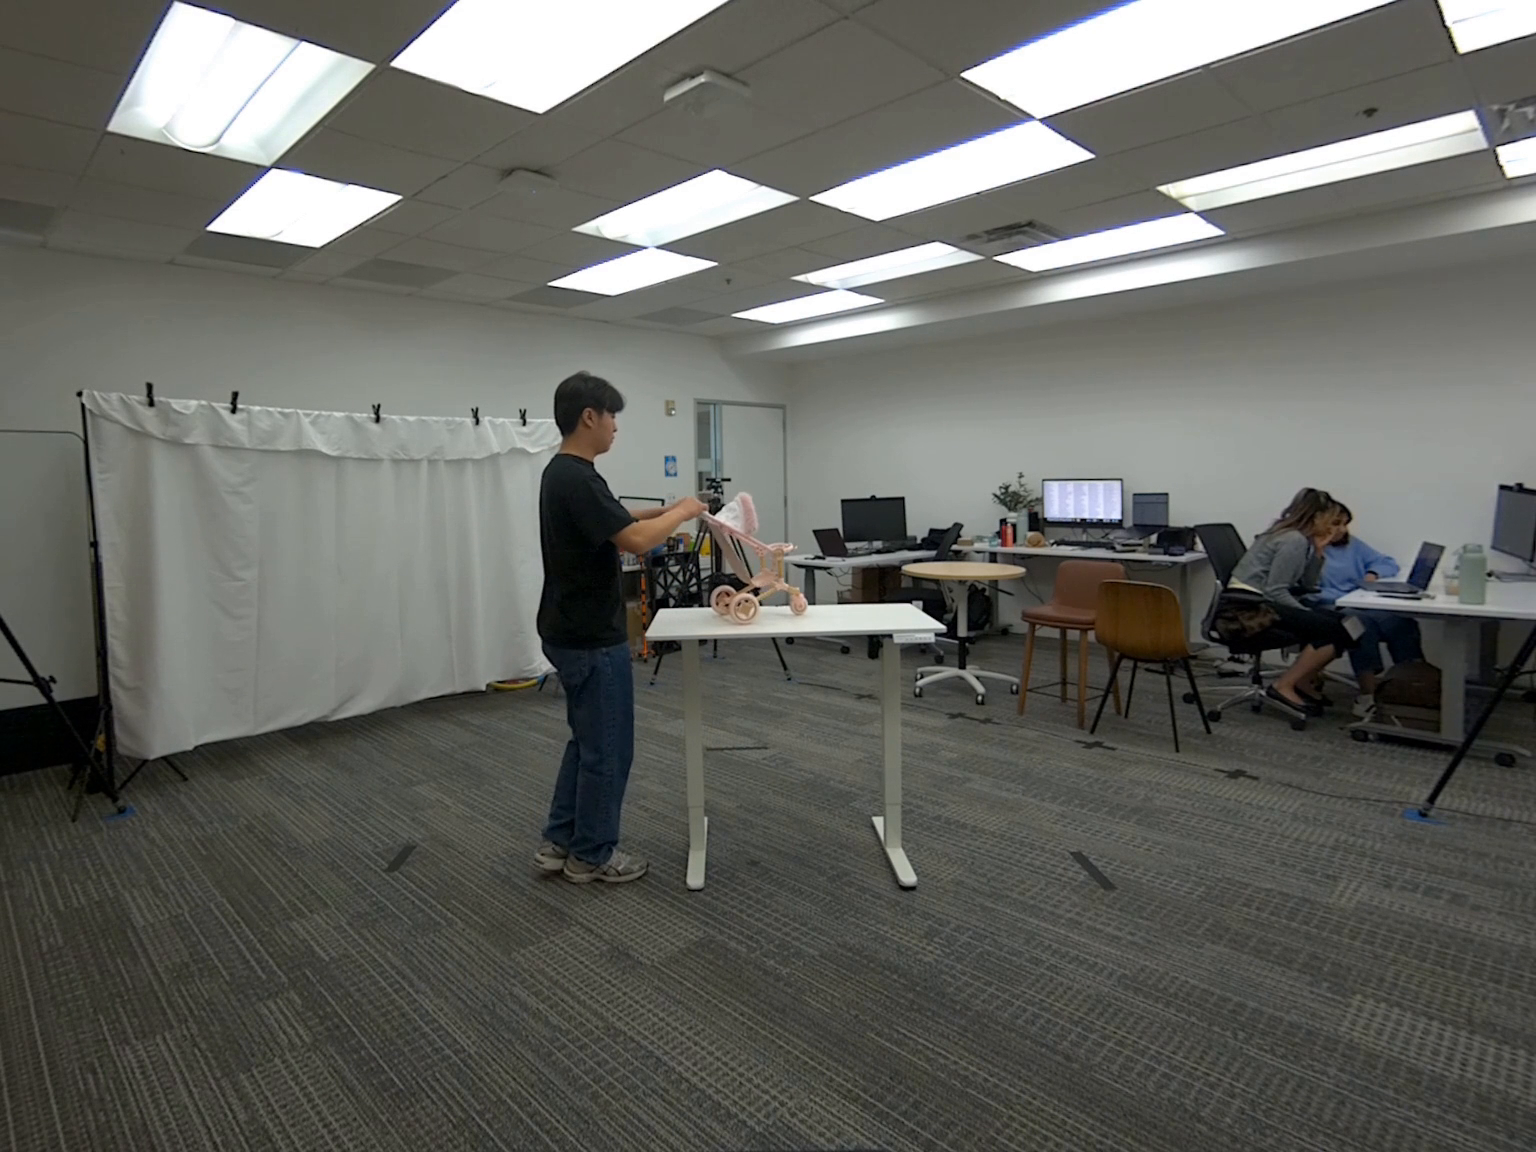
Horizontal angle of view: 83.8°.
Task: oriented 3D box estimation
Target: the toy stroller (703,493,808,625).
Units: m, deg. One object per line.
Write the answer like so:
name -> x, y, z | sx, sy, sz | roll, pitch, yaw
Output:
toy stroller -> -0.067, -0.067, 3.128 | 0.339, 0.530, 0.286 | -17, 8, -11
